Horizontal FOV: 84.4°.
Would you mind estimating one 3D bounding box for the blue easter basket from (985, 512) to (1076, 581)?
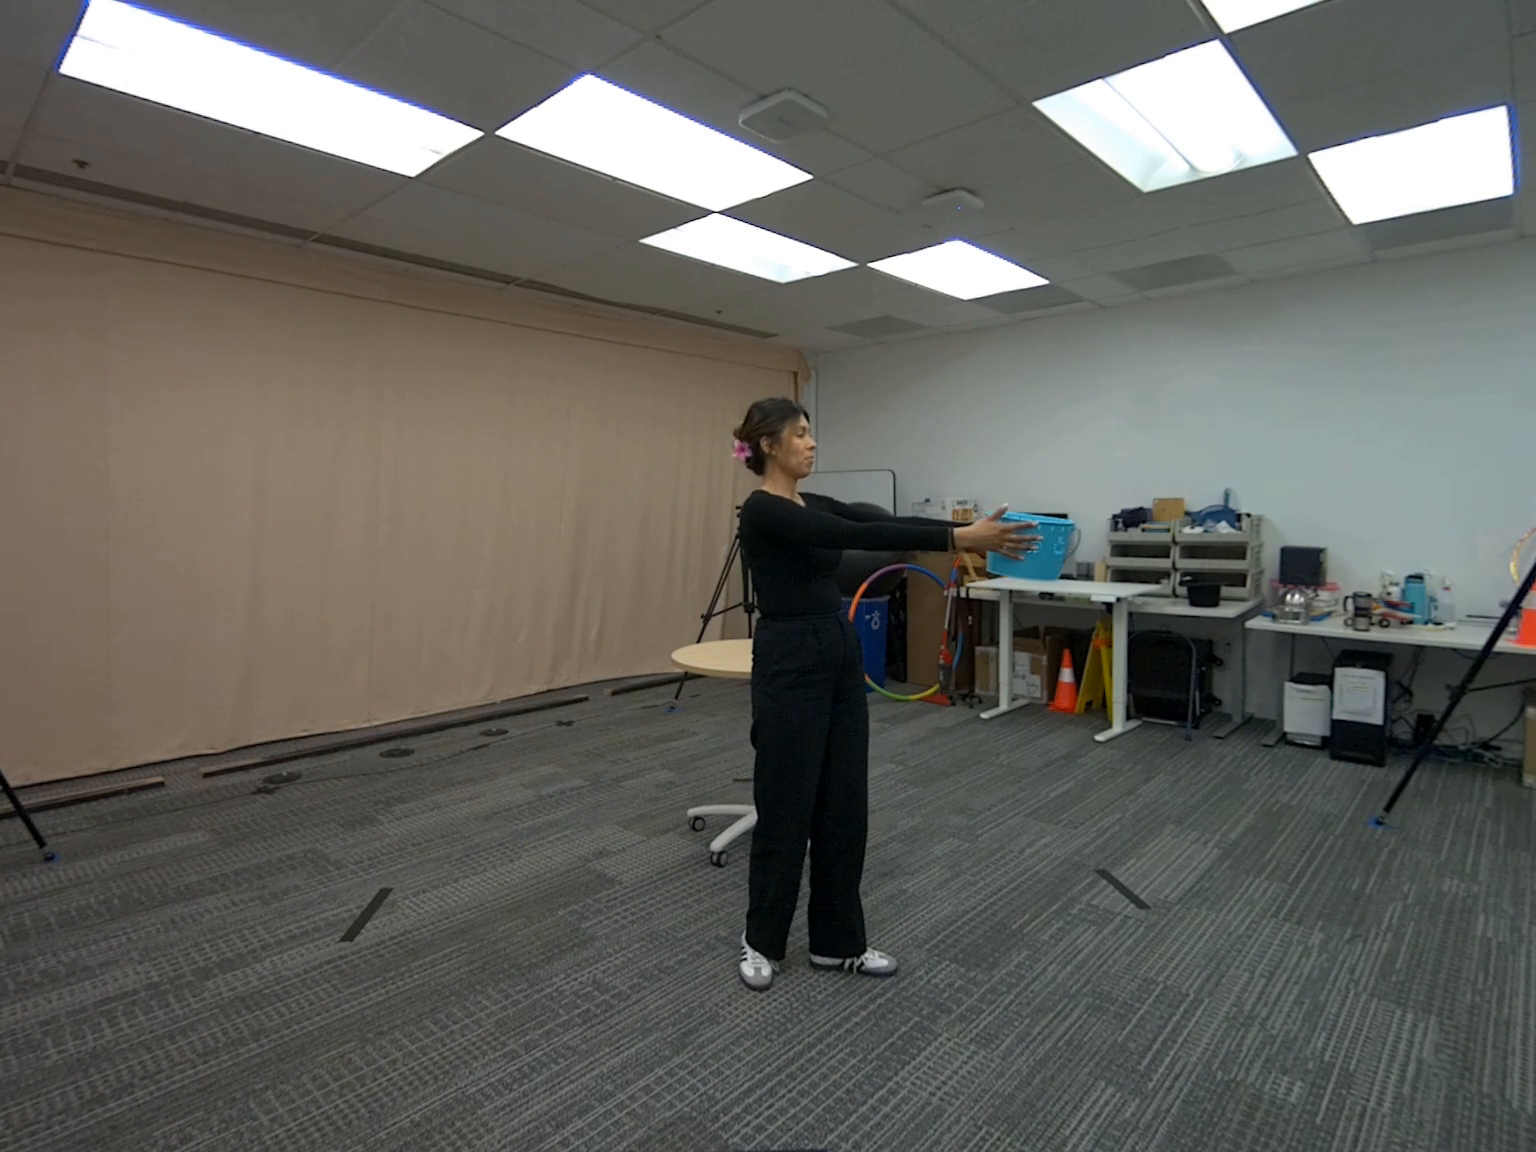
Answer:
[{"bbox_3d":[0.687,-0.080,2.202,0.243,0.155,0.245,2,7,-2],"label":"blue easter basket"}]
